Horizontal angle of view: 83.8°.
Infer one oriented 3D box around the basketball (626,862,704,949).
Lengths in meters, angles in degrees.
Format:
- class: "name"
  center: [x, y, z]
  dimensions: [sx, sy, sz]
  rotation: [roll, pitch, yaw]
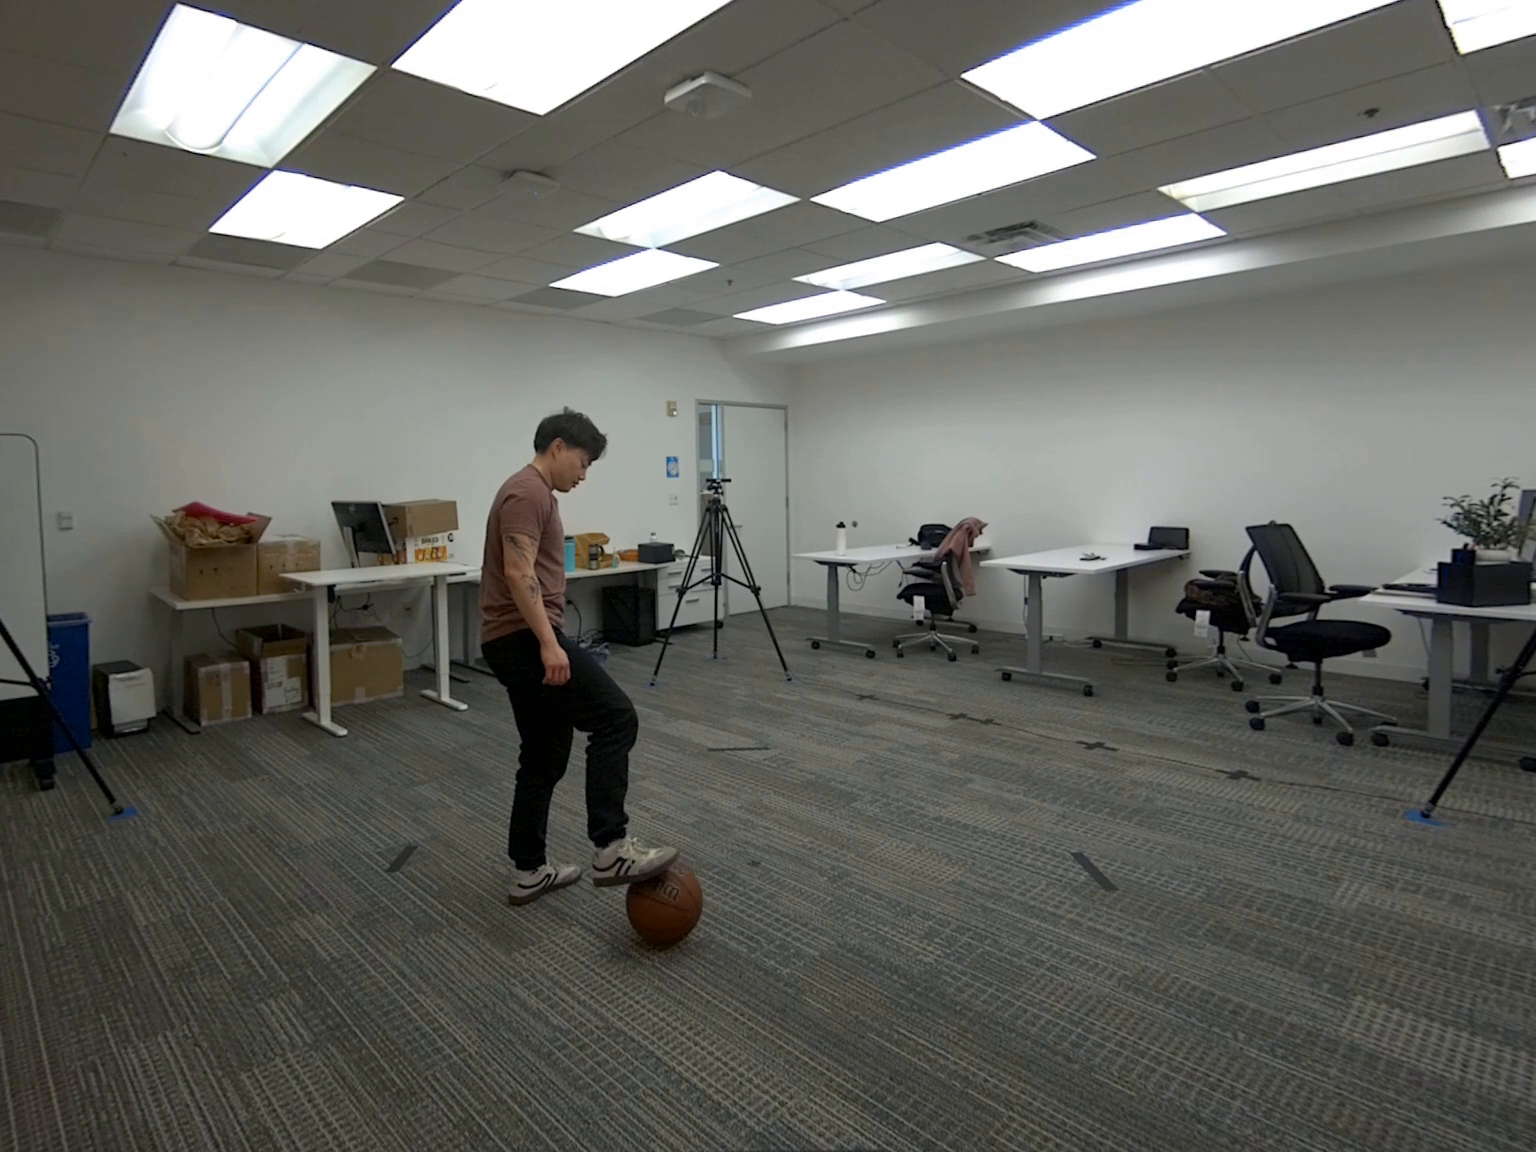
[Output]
- class: "basketball"
  center: [-0.313, 0.993, 2.609]
  dimensions: [0.236, 0.235, 0.237]
  rotation: [-1, 5, -2]
